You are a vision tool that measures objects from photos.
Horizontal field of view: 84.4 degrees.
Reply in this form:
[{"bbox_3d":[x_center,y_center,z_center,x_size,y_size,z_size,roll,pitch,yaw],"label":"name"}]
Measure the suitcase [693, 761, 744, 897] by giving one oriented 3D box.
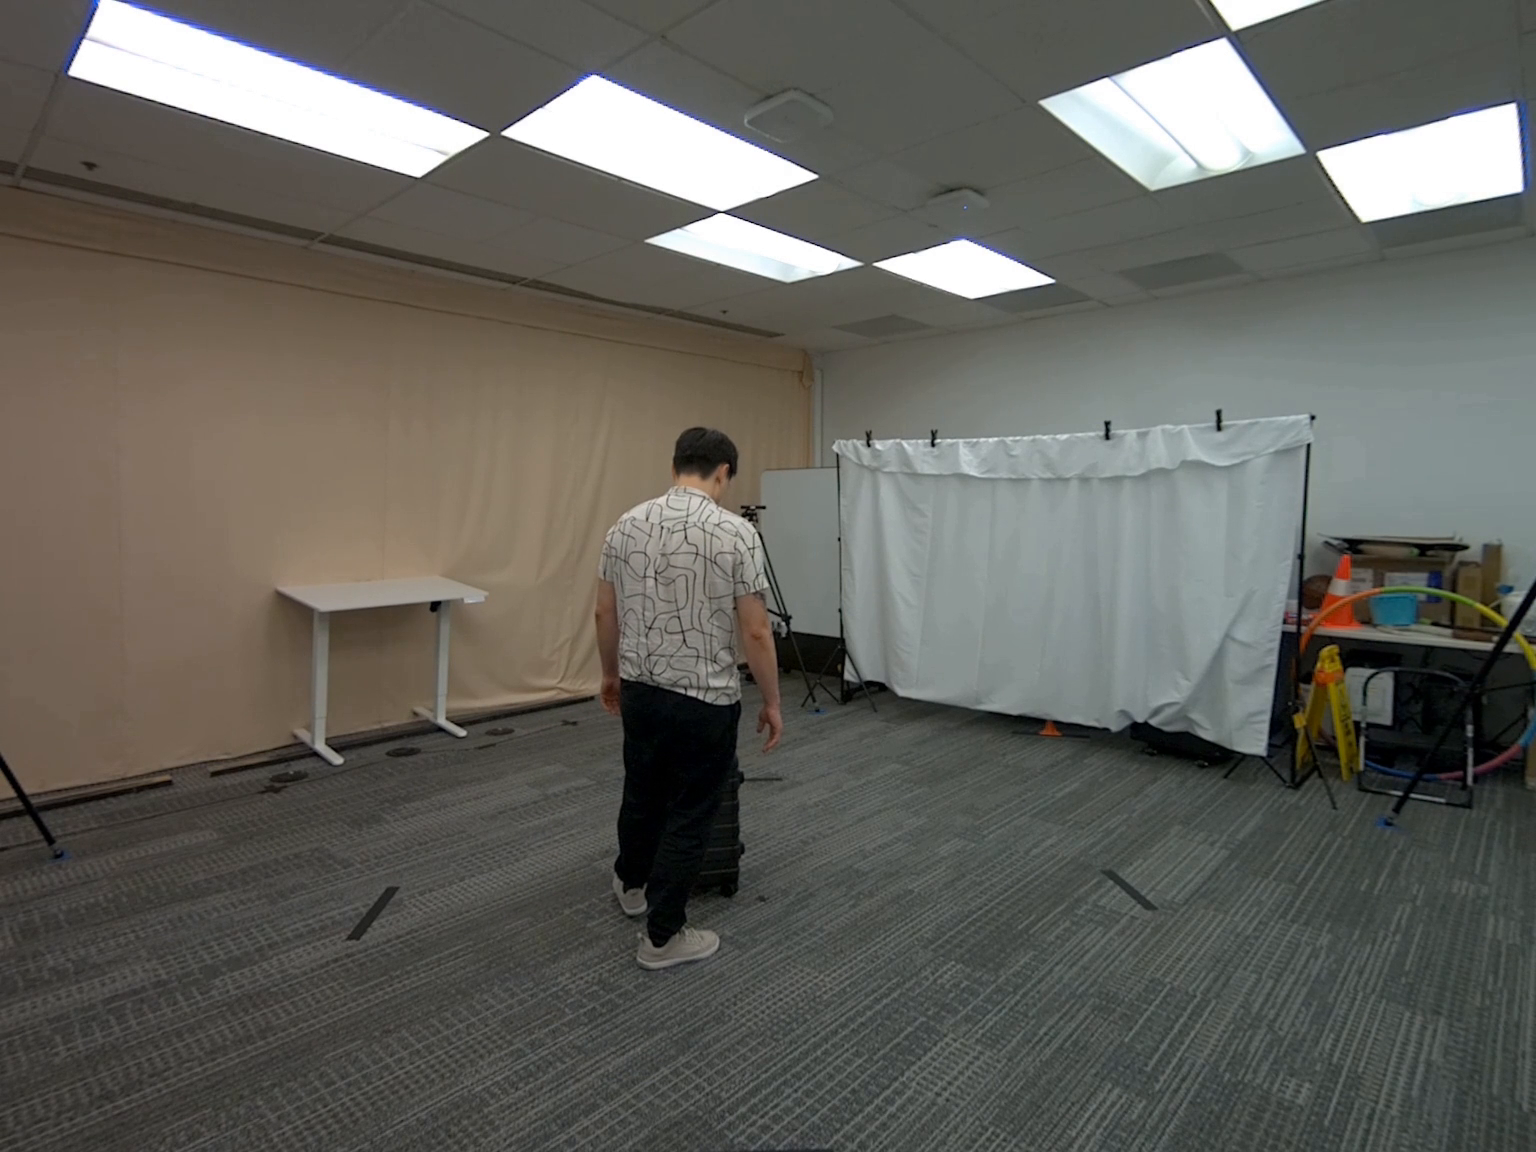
[{"bbox_3d":[-0.292,0.858,3.052,0.370,0.548,0.252,-2,2,-14],"label":"suitcase"}]
